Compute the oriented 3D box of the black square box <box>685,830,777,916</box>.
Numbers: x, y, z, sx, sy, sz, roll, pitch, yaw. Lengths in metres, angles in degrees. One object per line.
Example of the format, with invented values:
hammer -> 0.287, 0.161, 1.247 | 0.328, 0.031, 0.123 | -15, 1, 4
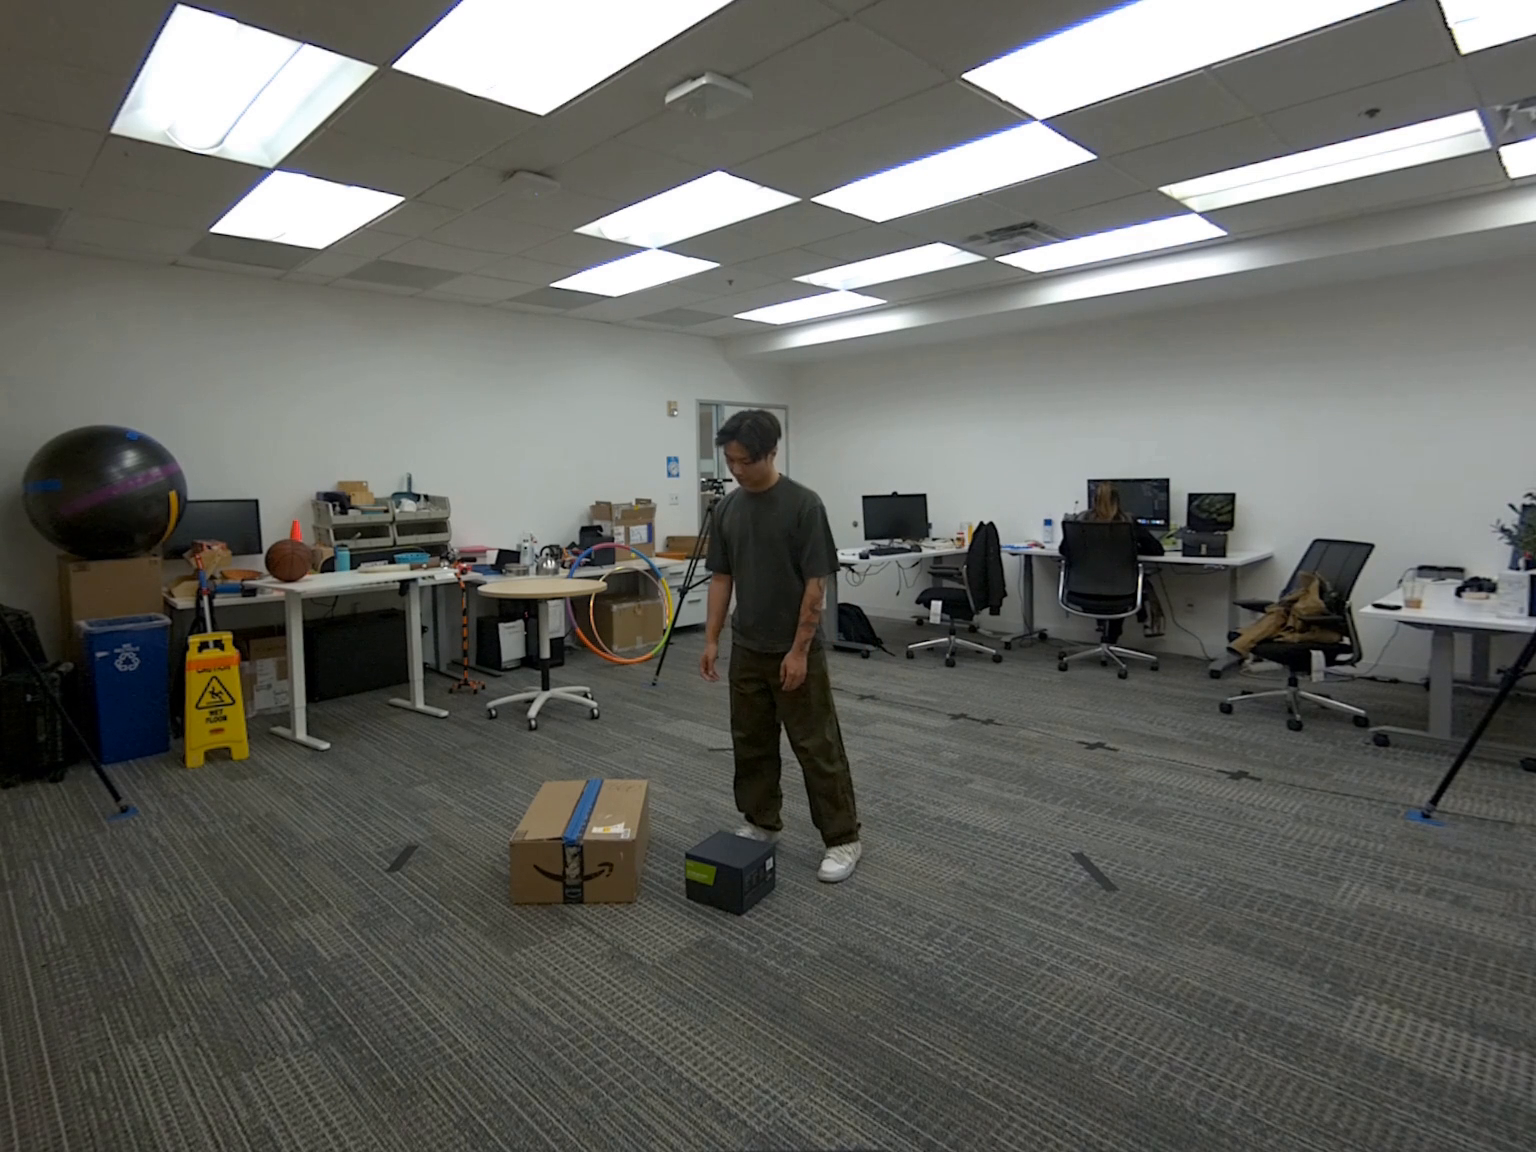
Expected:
black square box -> -0.122, 0.985, 2.882 | 0.234, 0.155, 0.212 | 3, 7, 32
